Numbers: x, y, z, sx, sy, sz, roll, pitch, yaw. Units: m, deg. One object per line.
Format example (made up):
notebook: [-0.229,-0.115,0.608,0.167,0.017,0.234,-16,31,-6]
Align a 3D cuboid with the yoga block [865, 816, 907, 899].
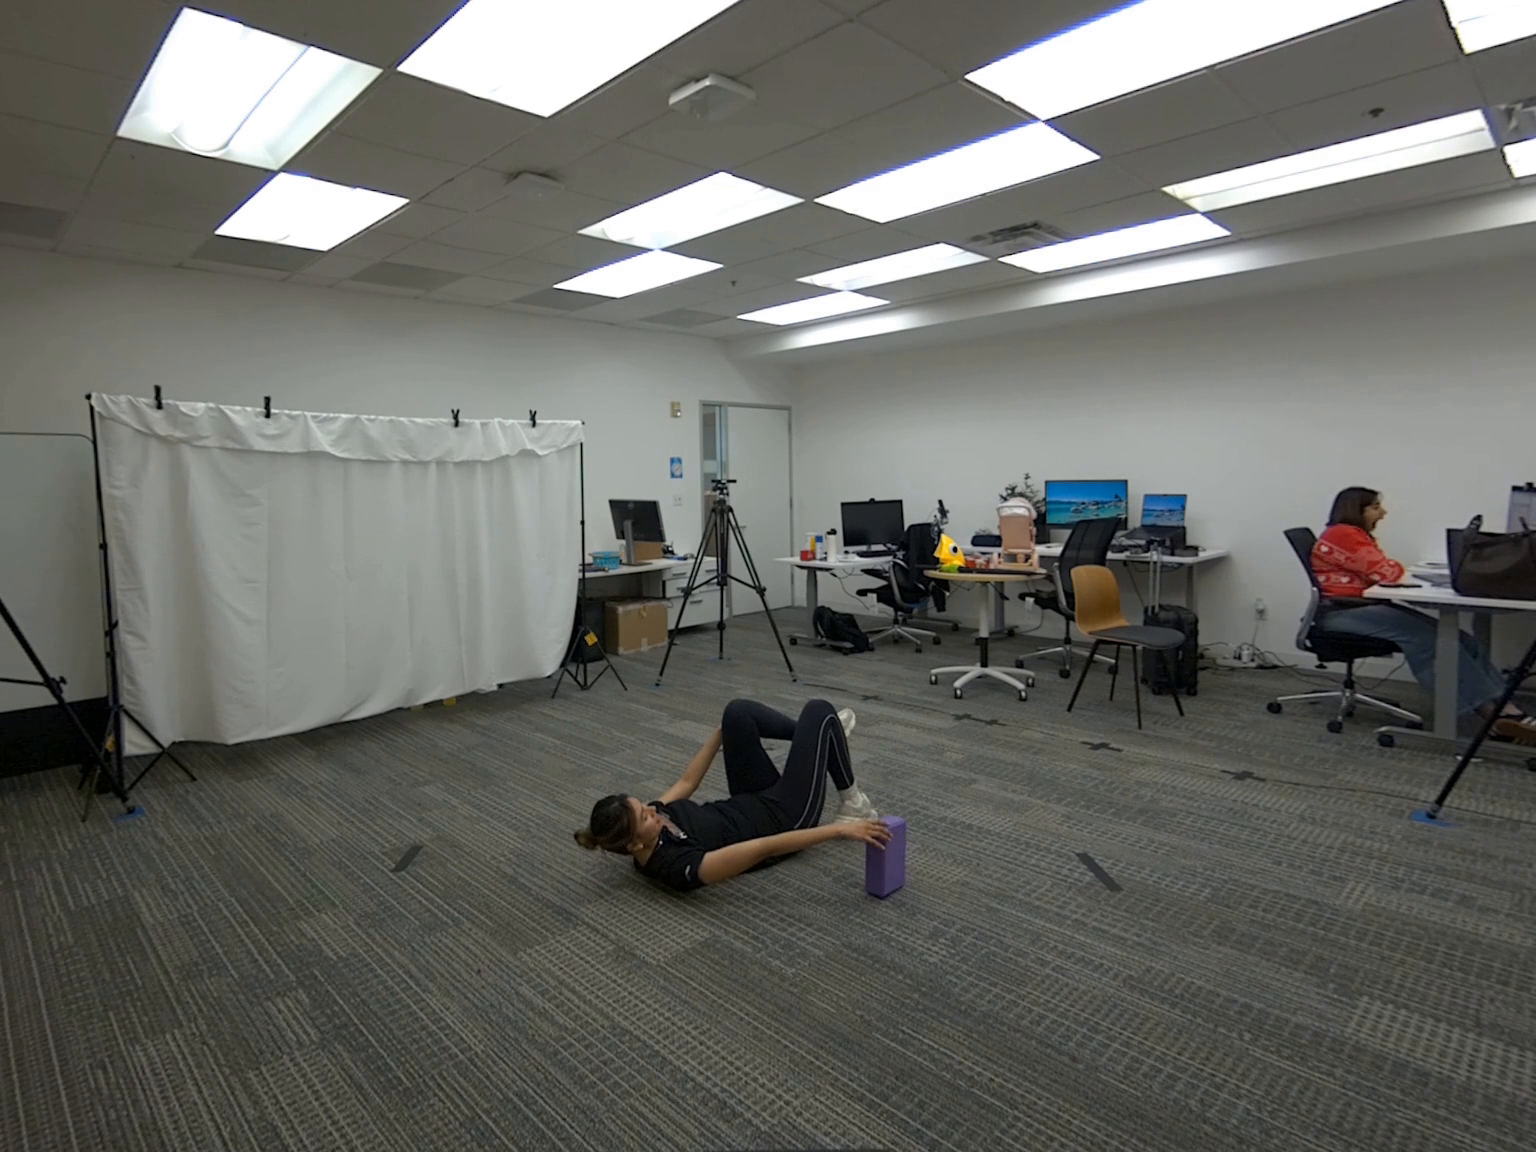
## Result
yoga block: [0.398,0.950,2.887,0.079,0.229,0.145,1,2,39]
